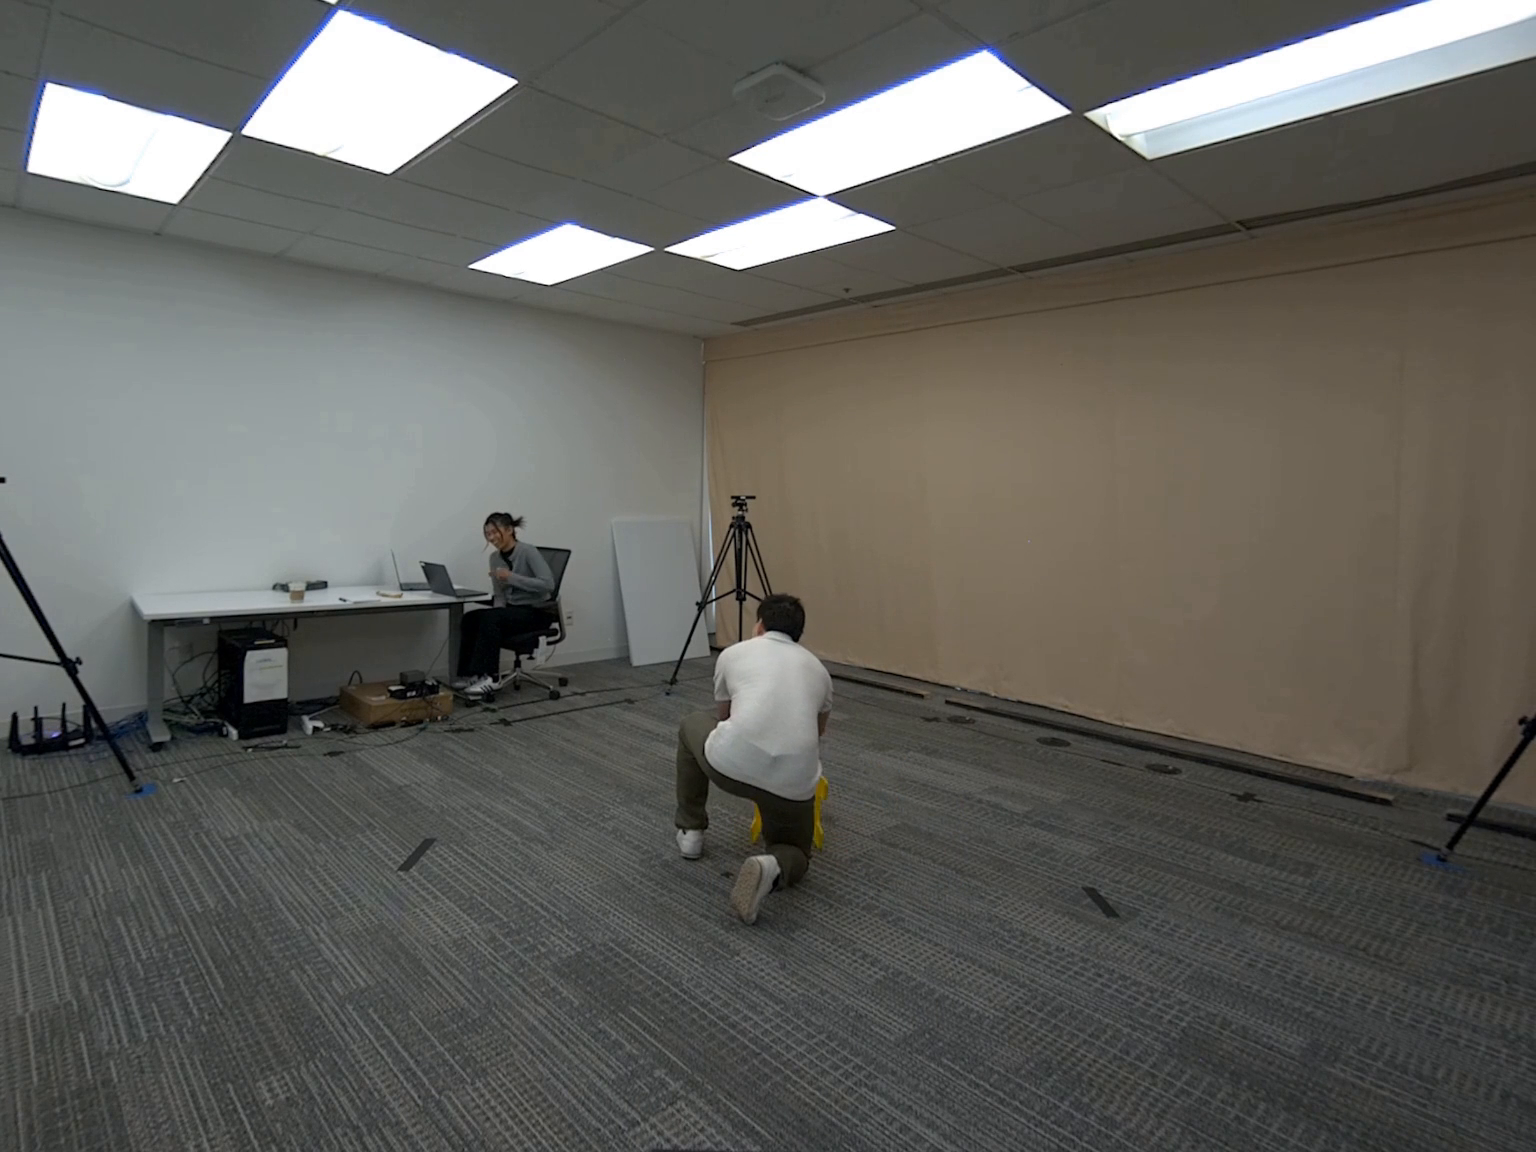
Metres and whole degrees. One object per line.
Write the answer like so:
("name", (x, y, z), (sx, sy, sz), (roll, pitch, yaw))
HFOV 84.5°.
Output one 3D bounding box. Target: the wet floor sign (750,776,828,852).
("wet floor sign", (0.077, 0.907, 3.657), (0.290, 0.281, 0.647), (3, 6, 0))
